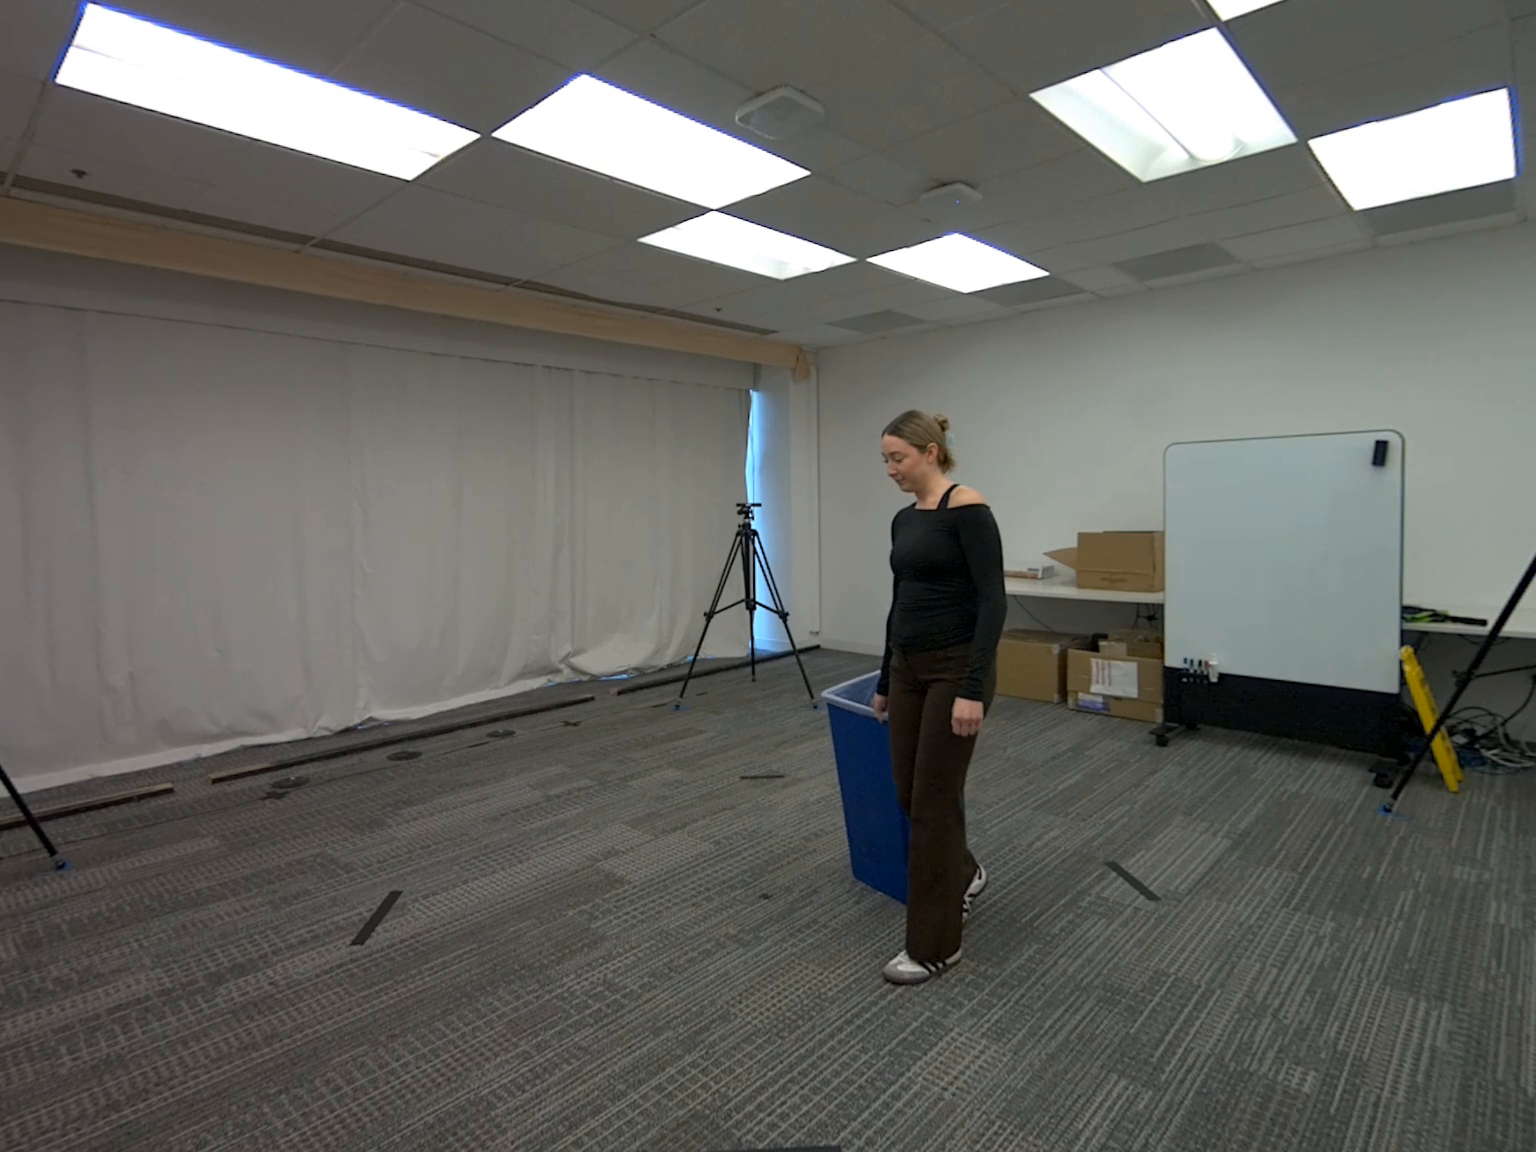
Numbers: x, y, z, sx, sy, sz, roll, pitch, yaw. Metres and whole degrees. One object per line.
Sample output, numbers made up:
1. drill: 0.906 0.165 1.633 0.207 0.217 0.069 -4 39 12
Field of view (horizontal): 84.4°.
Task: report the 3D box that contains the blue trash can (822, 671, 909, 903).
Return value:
1. blue trash can: 0.475 0.746 3.030 0.365 0.709 0.390 -12 10 -33
